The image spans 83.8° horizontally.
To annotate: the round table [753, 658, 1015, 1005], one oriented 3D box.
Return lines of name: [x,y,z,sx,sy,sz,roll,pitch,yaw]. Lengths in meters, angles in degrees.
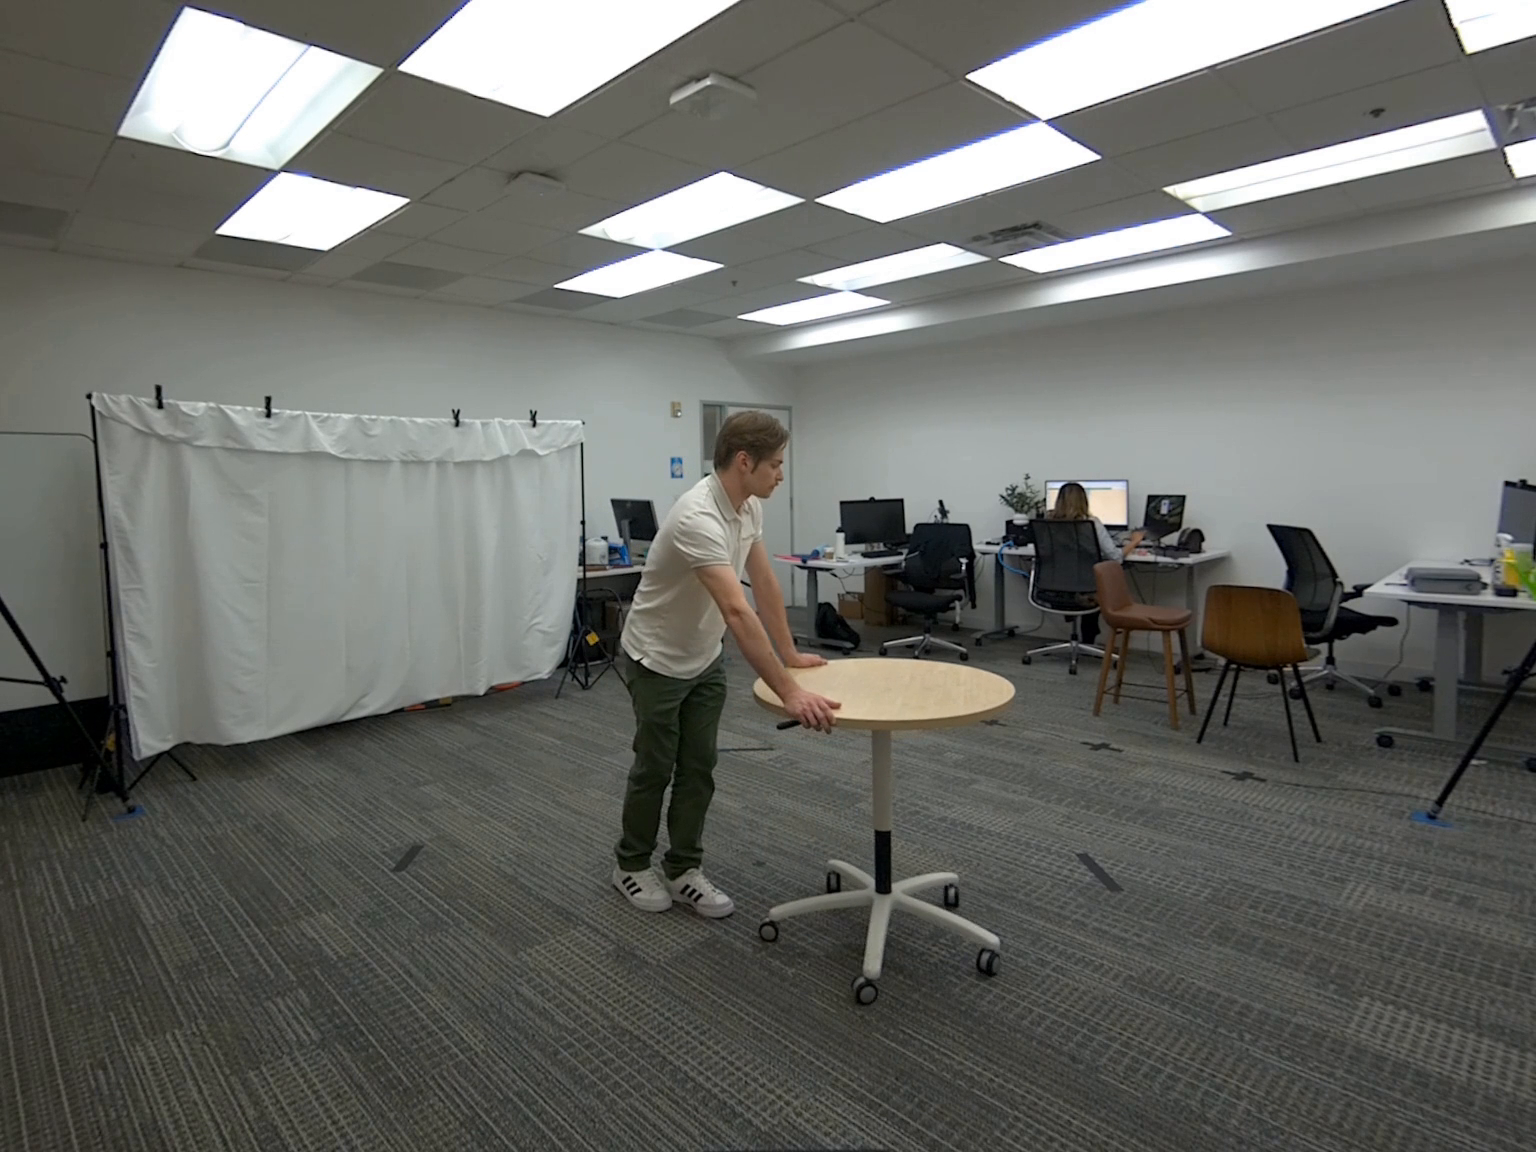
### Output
round table: [0.352,0.715,2.582,0.763,0.791,0.768,-2,5,-2]
